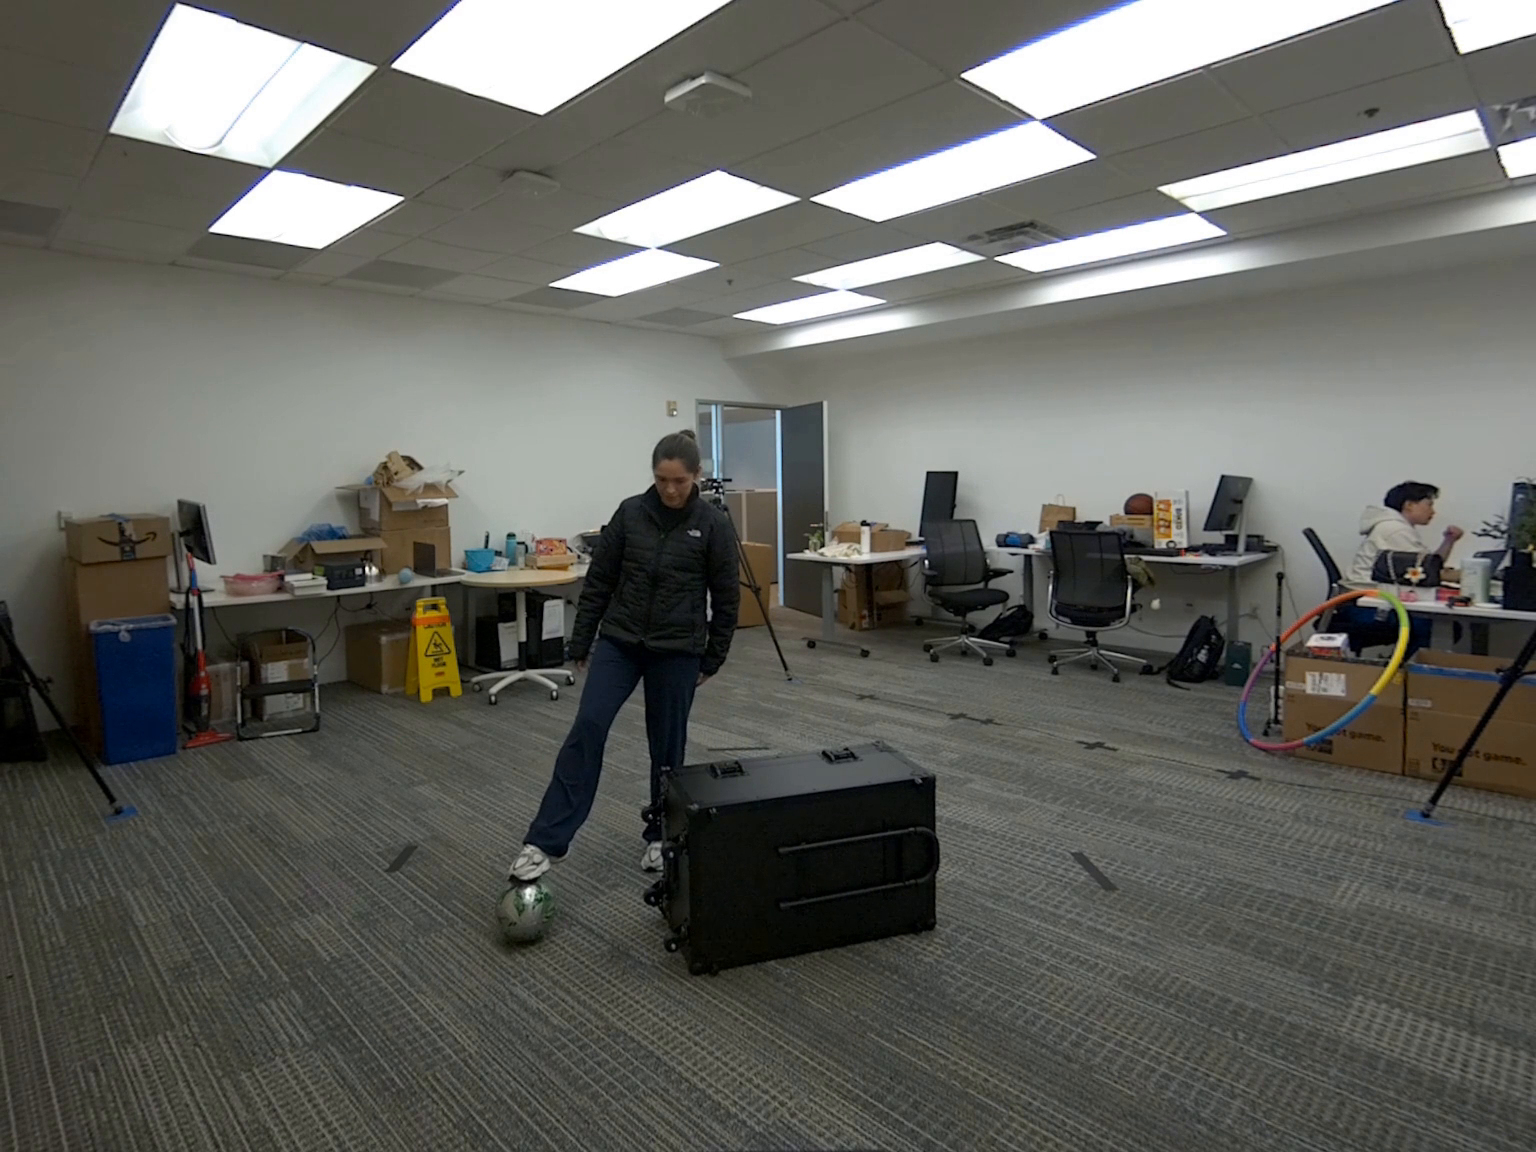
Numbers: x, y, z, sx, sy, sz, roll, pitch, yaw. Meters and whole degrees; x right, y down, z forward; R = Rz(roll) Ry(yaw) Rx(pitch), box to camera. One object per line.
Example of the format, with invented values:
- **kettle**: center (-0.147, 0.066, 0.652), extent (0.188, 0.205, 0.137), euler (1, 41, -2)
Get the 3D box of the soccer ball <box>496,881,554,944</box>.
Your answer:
- **soccer ball**: center (-0.731, 1.017, 2.632), extent (0.187, 0.187, 0.188), euler (-1, 5, -2)
